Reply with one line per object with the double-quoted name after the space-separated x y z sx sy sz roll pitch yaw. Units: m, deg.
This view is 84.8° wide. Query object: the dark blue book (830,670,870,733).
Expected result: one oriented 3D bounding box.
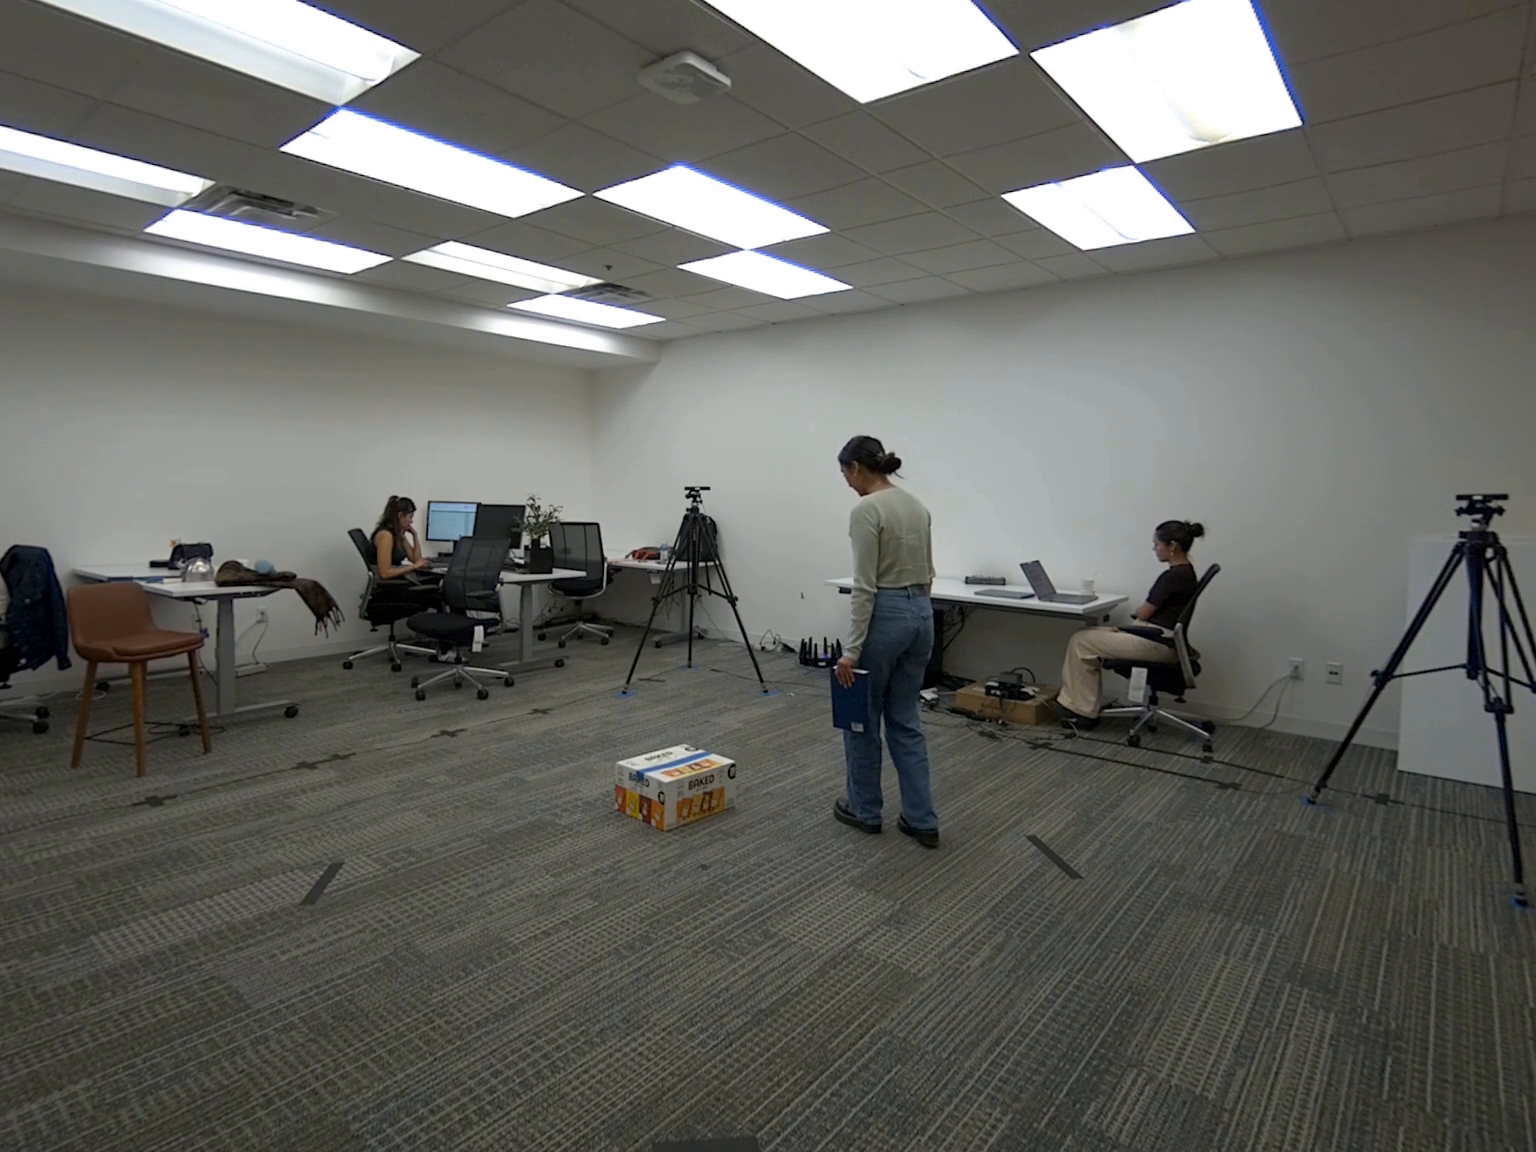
0.315 0.478 3.304 0.169 0.242 0.044 6 13 40 "dark blue book"
